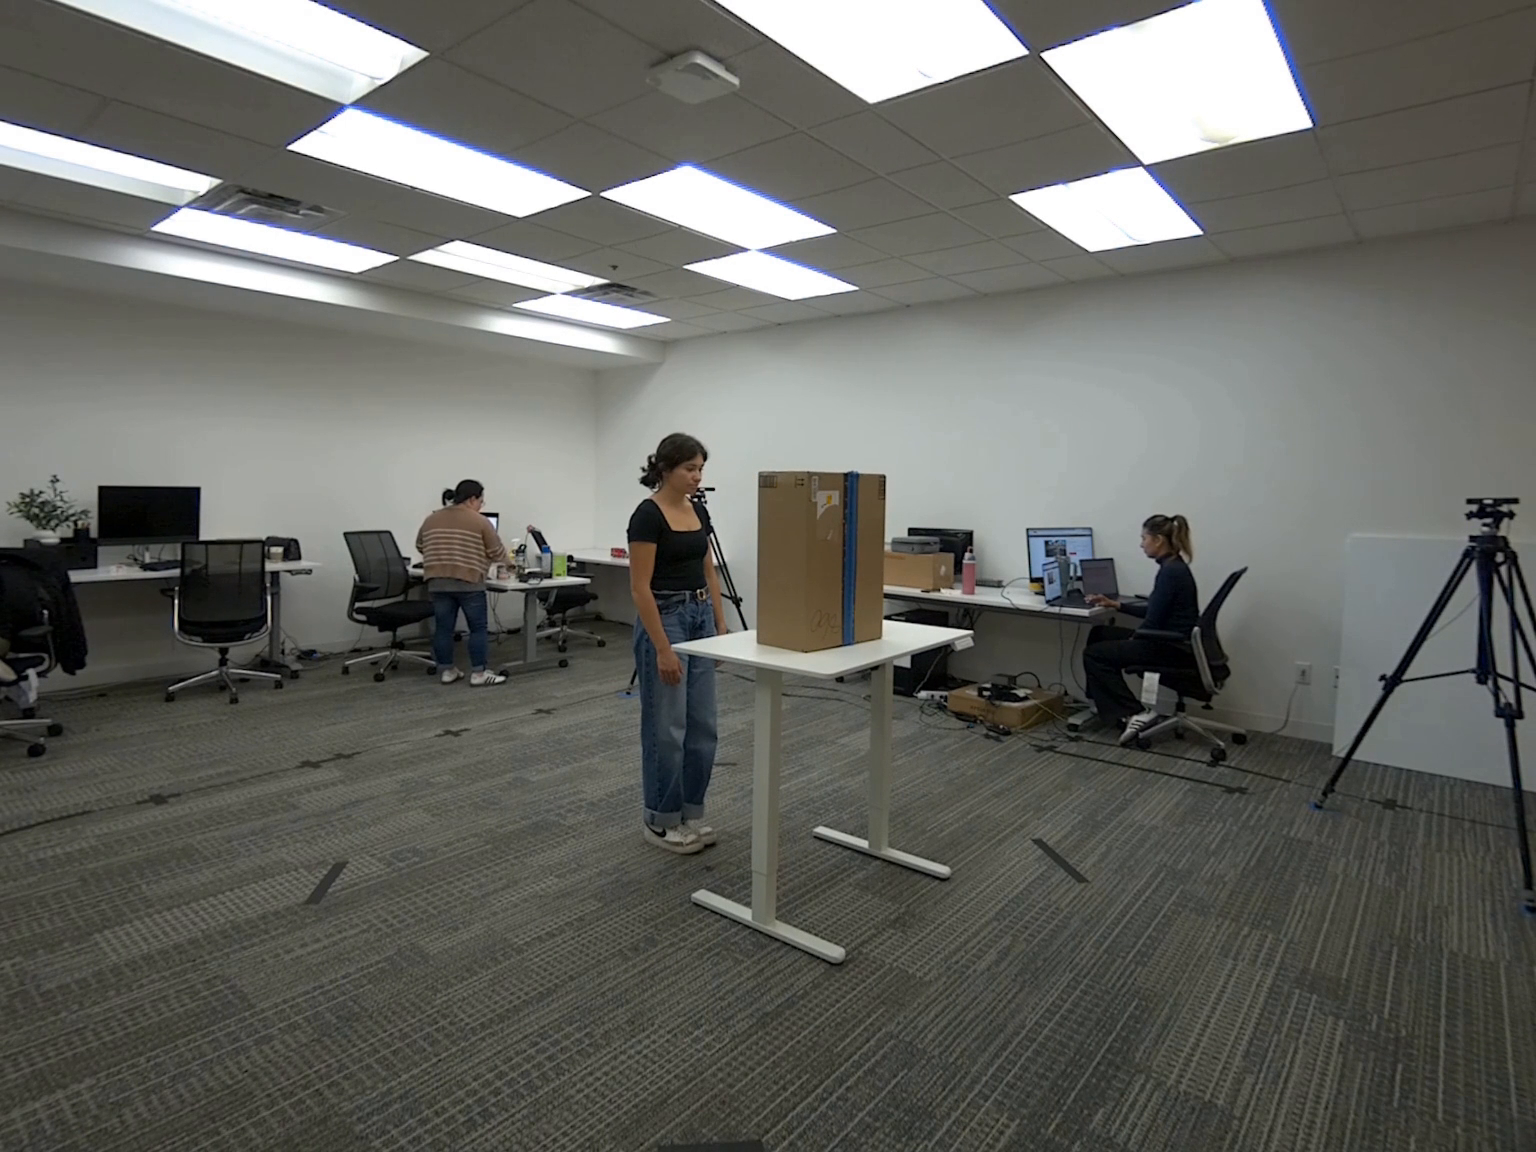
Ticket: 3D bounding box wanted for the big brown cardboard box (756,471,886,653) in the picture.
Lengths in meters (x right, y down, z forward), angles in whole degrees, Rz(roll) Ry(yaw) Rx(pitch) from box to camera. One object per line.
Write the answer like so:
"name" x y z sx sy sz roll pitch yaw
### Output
"big brown cardboard box" 0.176 -0.072 2.848 0.241 0.586 0.405 6 7 44
